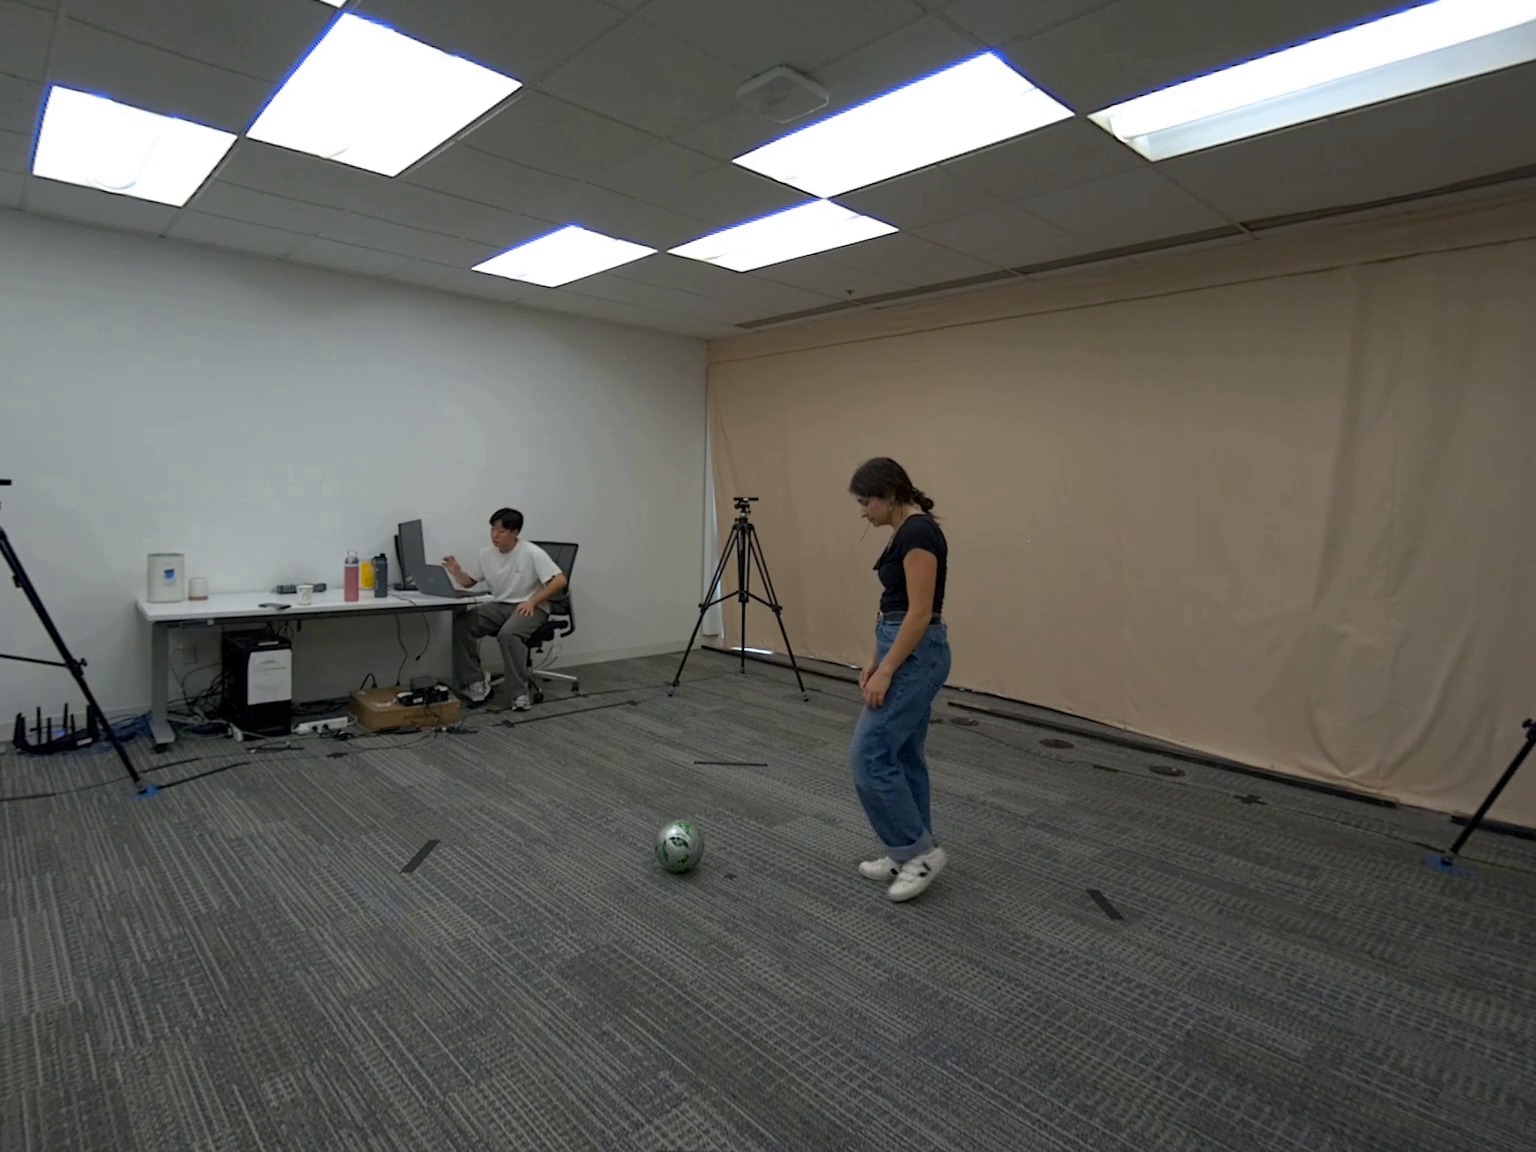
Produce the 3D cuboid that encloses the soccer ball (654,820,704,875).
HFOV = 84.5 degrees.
[{"bbox_3d":[-0.333,1.002,3.148,0.187,0.187,0.188,1,4,-1],"label":"soccer ball"}]
